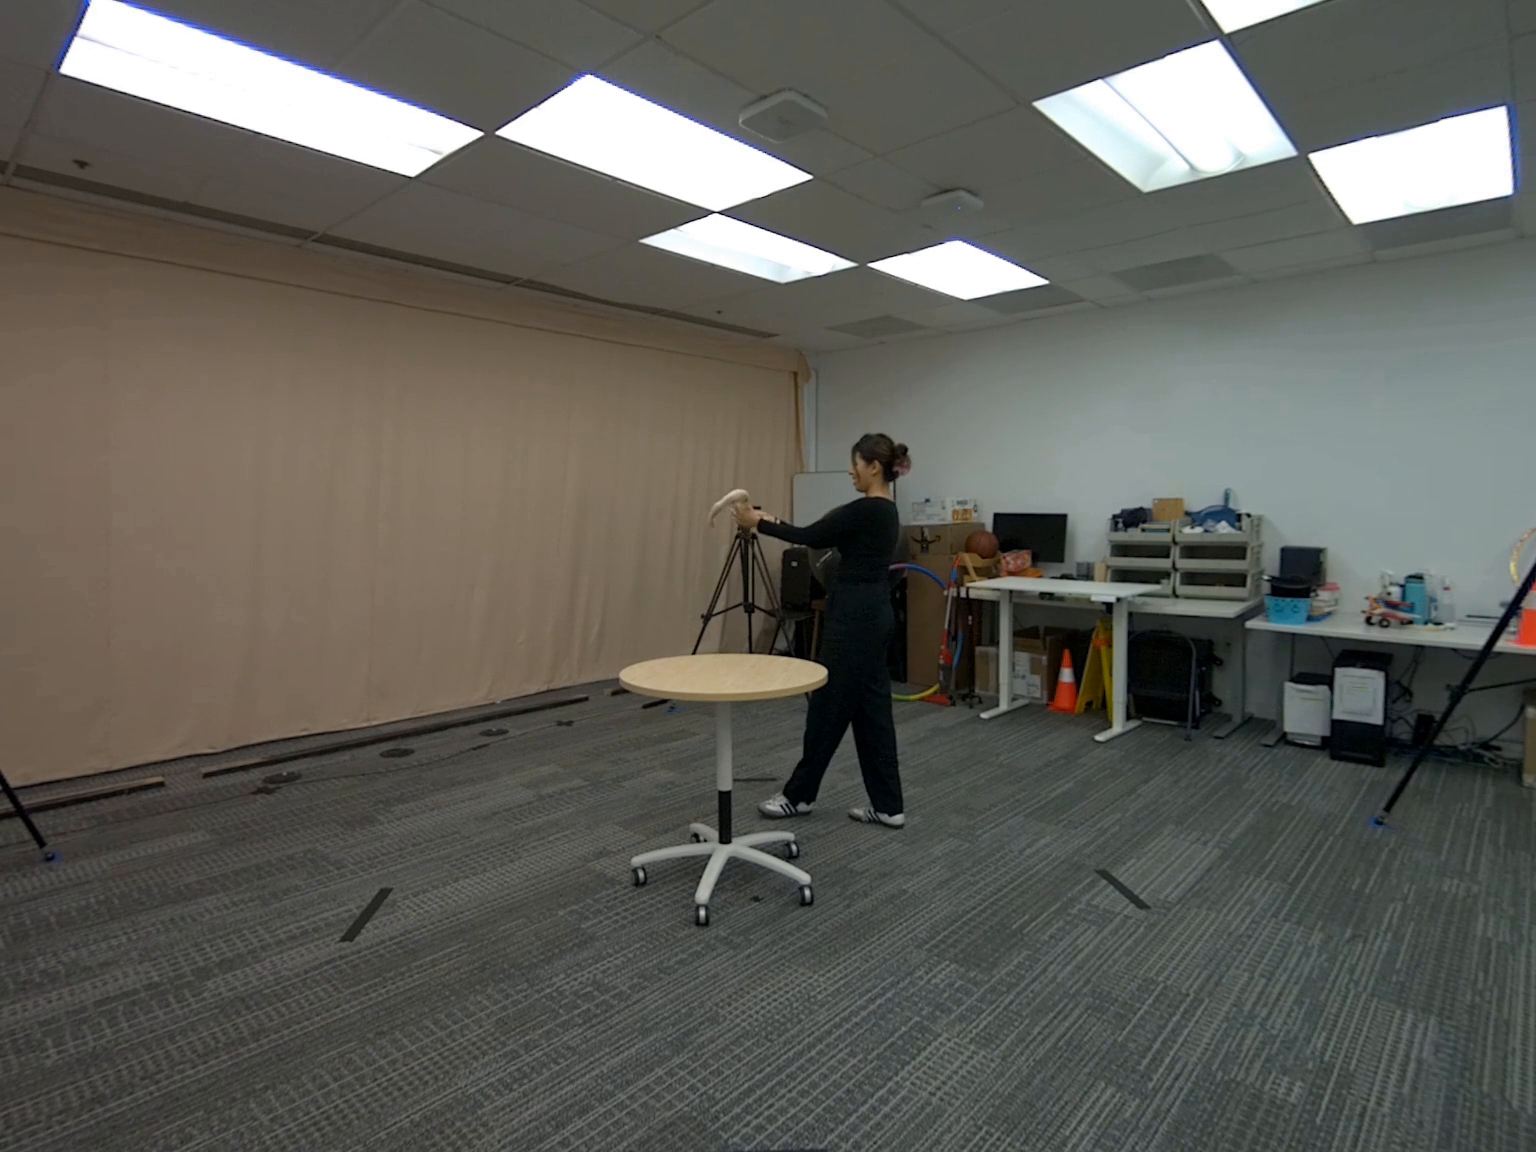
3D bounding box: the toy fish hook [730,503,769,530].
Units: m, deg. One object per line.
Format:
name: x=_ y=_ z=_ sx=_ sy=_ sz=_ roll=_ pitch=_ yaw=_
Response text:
toy fish hook: x=-0.166 y=-0.250 z=3.854 sx=0.224 sy=0.049 sz=0.496 roll=-30 pitch=-21 yaw=-7
